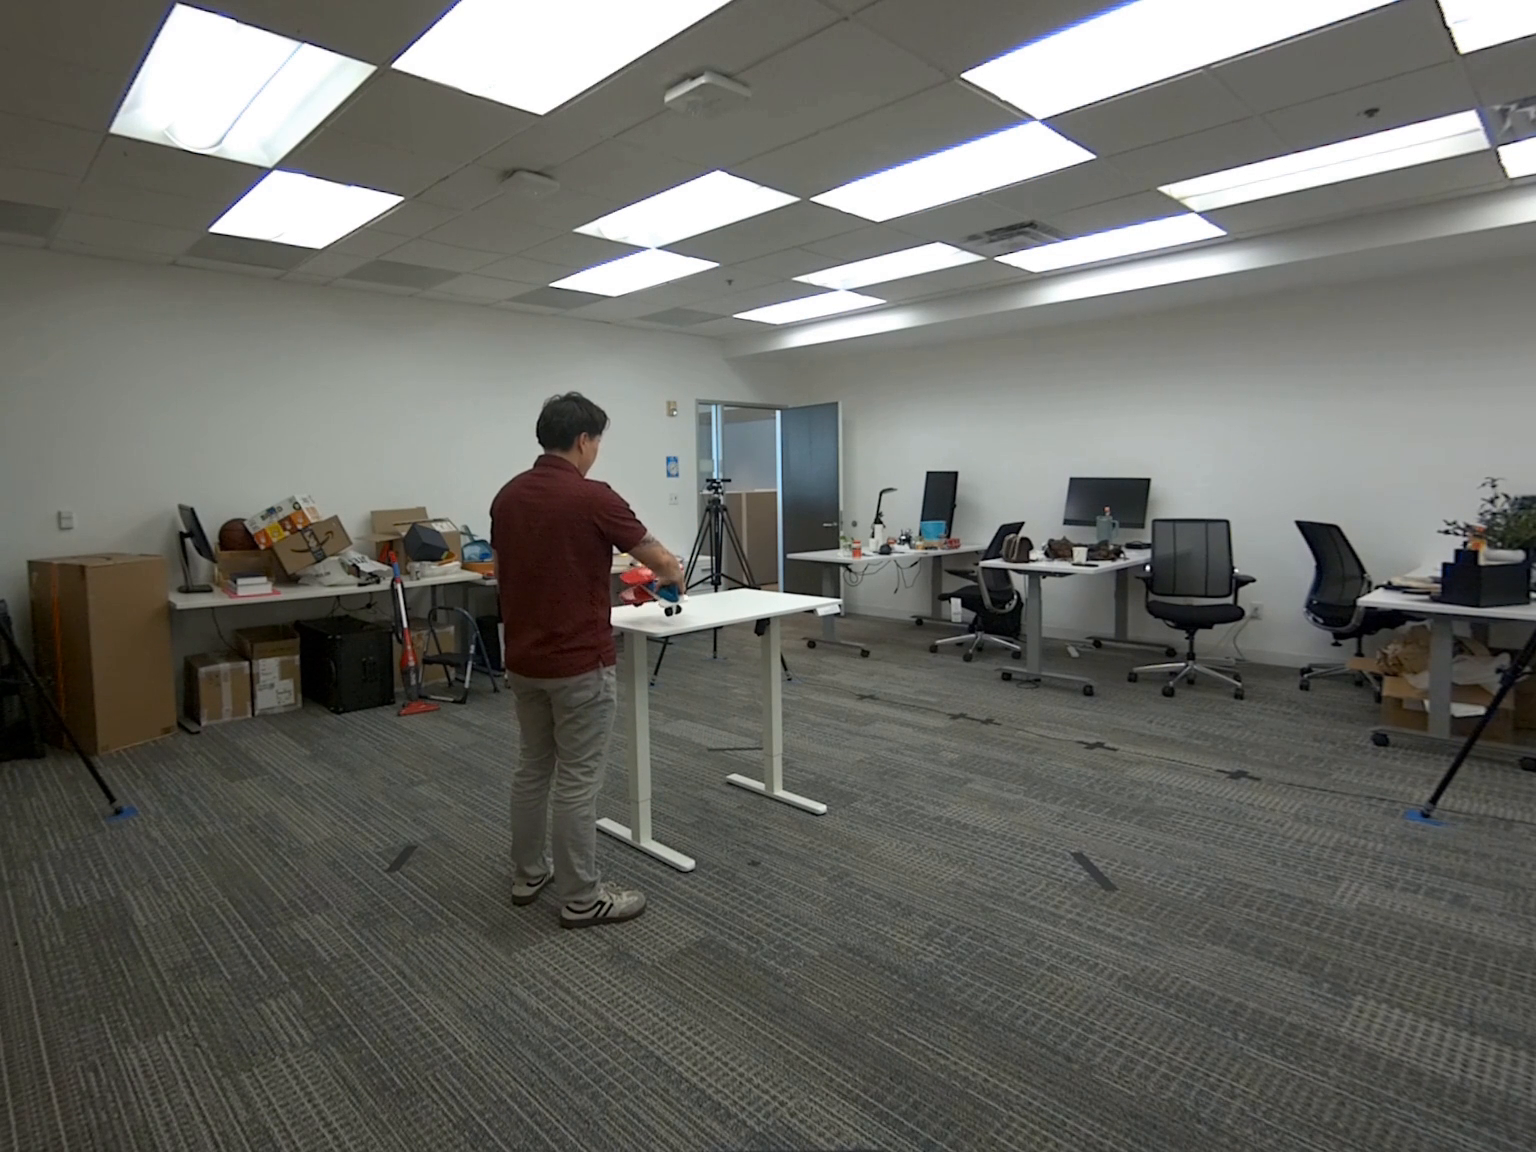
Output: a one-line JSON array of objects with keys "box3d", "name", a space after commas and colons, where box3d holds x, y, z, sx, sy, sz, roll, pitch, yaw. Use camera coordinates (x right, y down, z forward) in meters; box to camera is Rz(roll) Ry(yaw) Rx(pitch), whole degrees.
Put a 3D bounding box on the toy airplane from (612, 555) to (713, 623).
[{"box3d": [-0.382, 0.039, 3.126, 0.265, 0.154, 0.249, 3, 19, 24], "name": "toy airplane"}]
